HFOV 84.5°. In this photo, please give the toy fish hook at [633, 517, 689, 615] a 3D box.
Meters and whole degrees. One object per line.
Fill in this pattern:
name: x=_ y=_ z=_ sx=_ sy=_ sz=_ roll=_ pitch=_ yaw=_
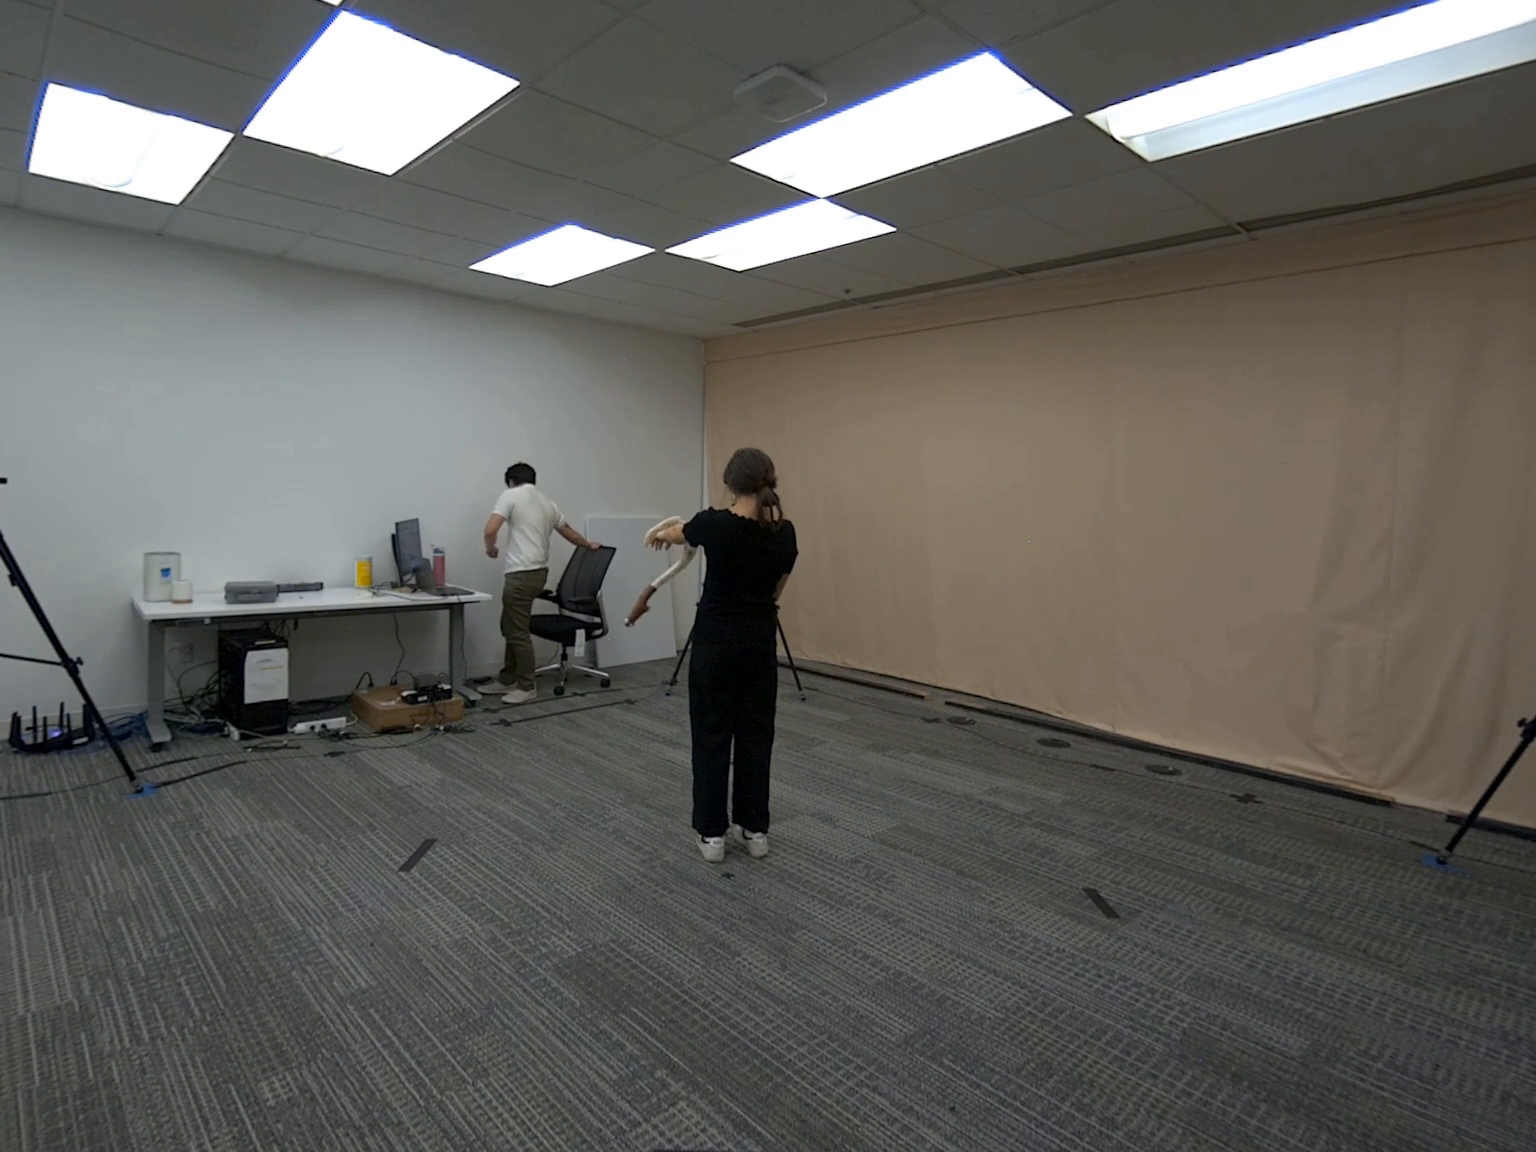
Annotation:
toy fish hook: x=-0.485 y=-0.024 z=3.579 sx=0.223 sy=0.507 sz=0.048 roll=36 pitch=-8 yaw=-7
